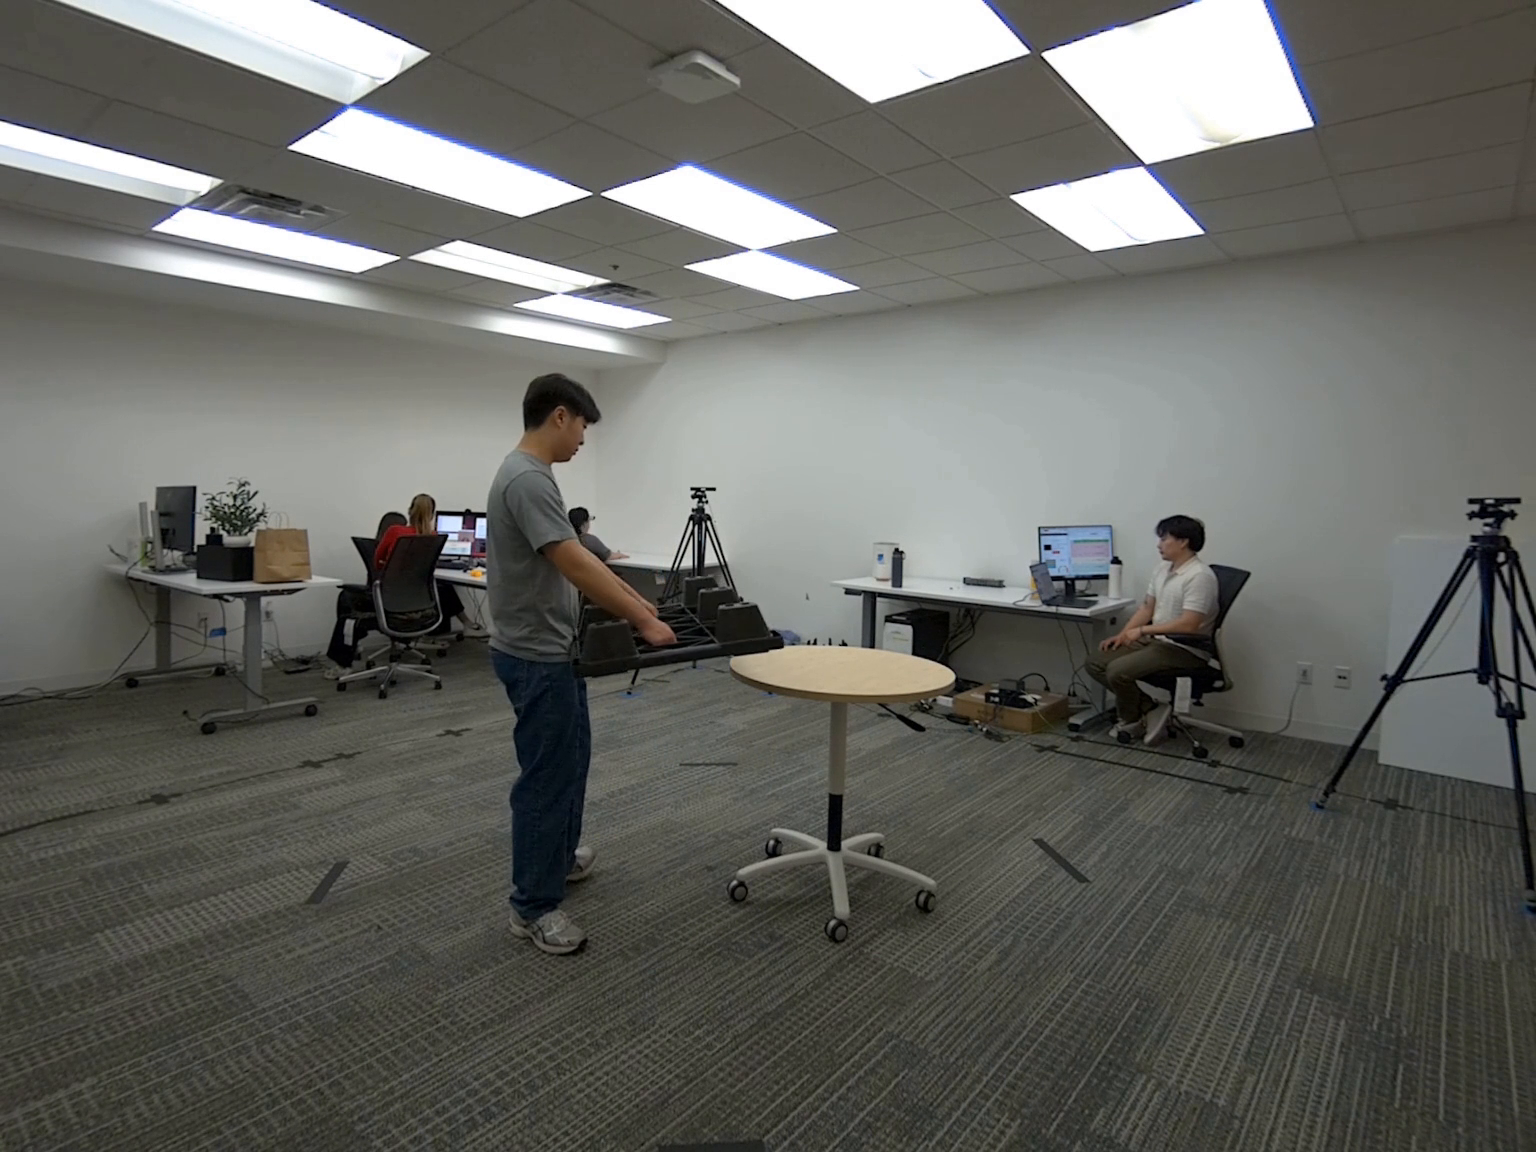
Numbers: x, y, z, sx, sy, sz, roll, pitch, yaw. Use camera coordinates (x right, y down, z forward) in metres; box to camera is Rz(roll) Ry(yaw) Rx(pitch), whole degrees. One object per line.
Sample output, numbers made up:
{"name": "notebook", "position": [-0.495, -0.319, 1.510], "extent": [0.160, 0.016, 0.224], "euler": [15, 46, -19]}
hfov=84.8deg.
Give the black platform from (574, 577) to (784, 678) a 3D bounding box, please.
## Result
{"name": "black platform", "position": [-0.363, 0.133, 2.726], "extent": [0.599, 0.142, 0.820], "euler": [-9, 9, -11]}
